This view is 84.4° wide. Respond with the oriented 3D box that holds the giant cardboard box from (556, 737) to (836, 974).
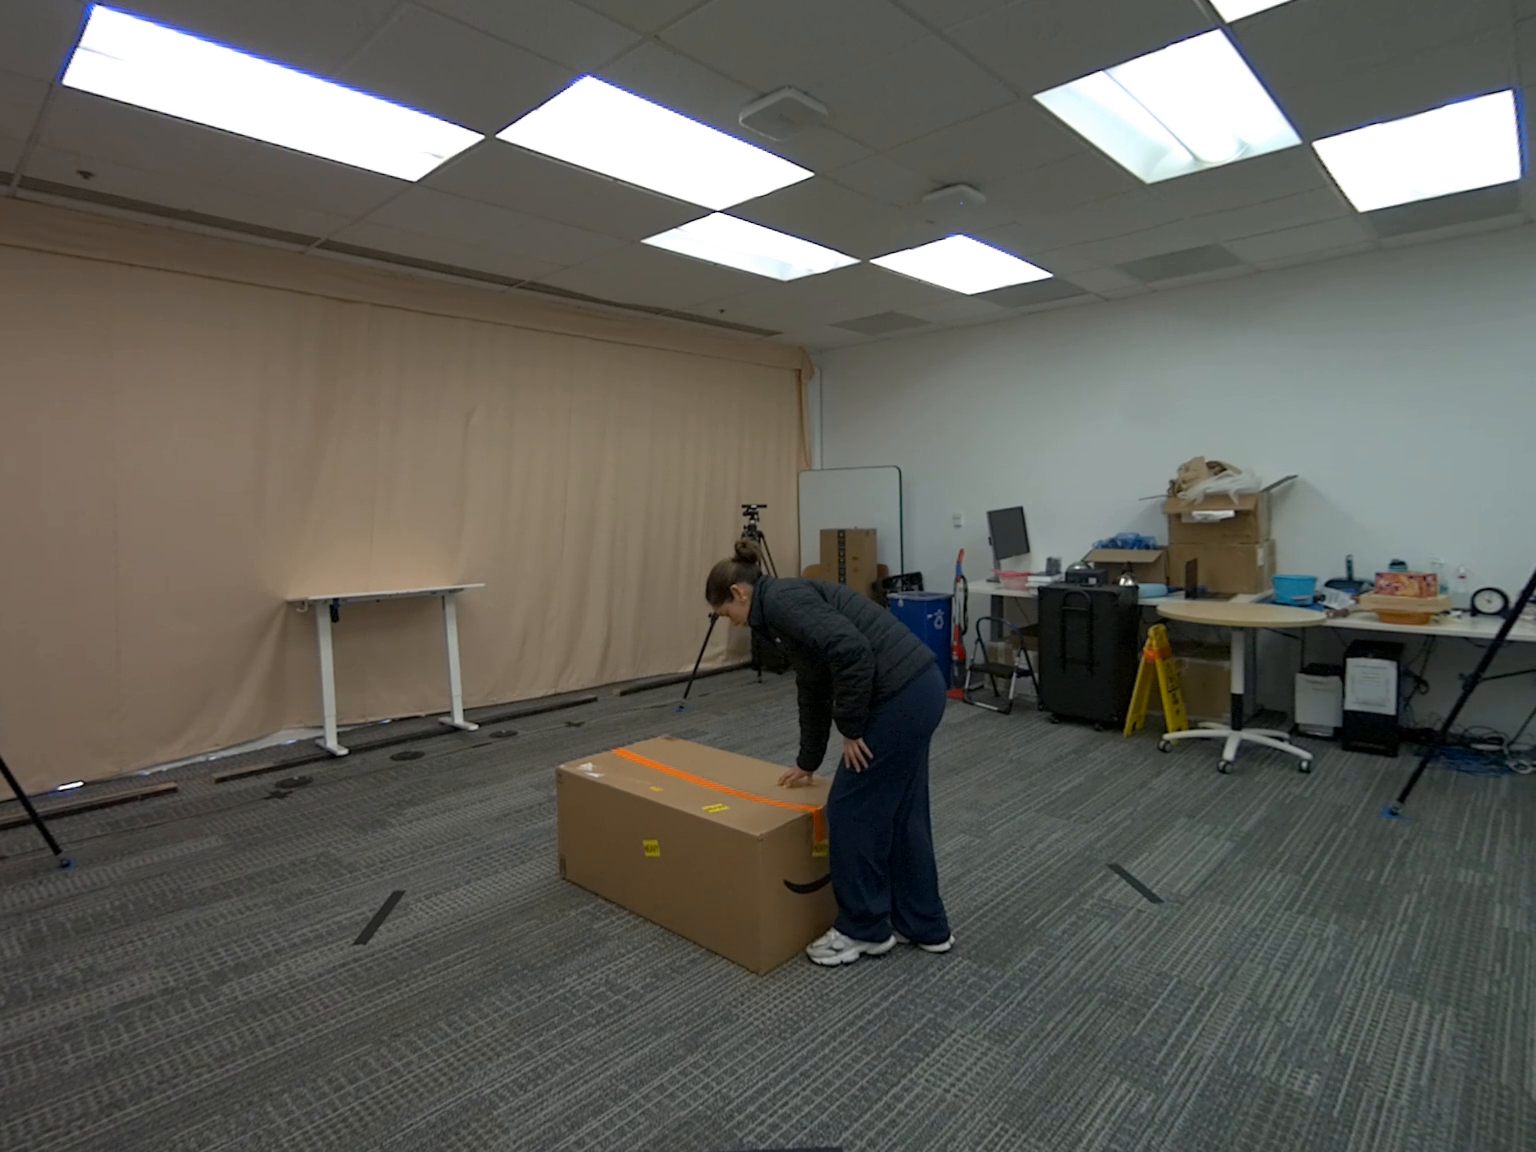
[{"bbox_3d":[-0.210,0.933,3.032,1.061,0.446,0.566,2,4,42],"label":"giant cardboard box"}]
